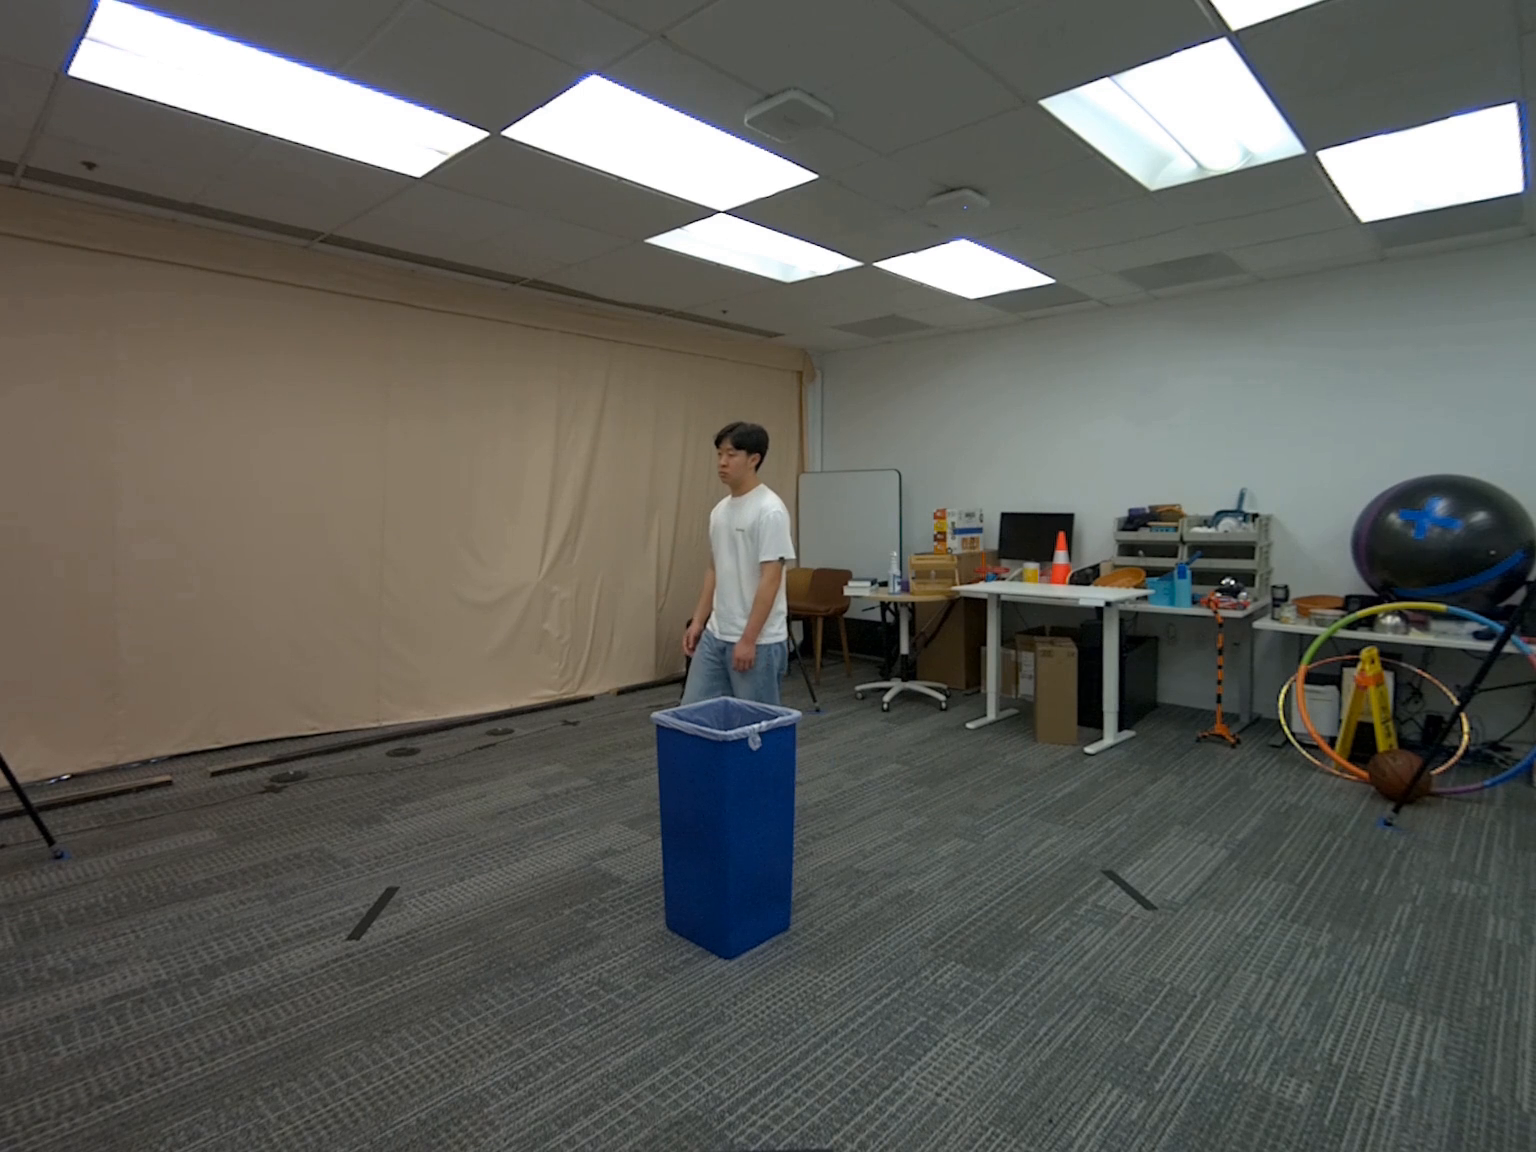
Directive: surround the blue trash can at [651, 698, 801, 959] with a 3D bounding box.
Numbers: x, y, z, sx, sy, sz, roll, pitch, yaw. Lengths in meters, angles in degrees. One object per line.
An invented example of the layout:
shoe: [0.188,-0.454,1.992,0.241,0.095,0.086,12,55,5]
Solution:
blue trash can: [-0.139,0.801,2.769,0.386,0.712,0.366,3,4,43]
